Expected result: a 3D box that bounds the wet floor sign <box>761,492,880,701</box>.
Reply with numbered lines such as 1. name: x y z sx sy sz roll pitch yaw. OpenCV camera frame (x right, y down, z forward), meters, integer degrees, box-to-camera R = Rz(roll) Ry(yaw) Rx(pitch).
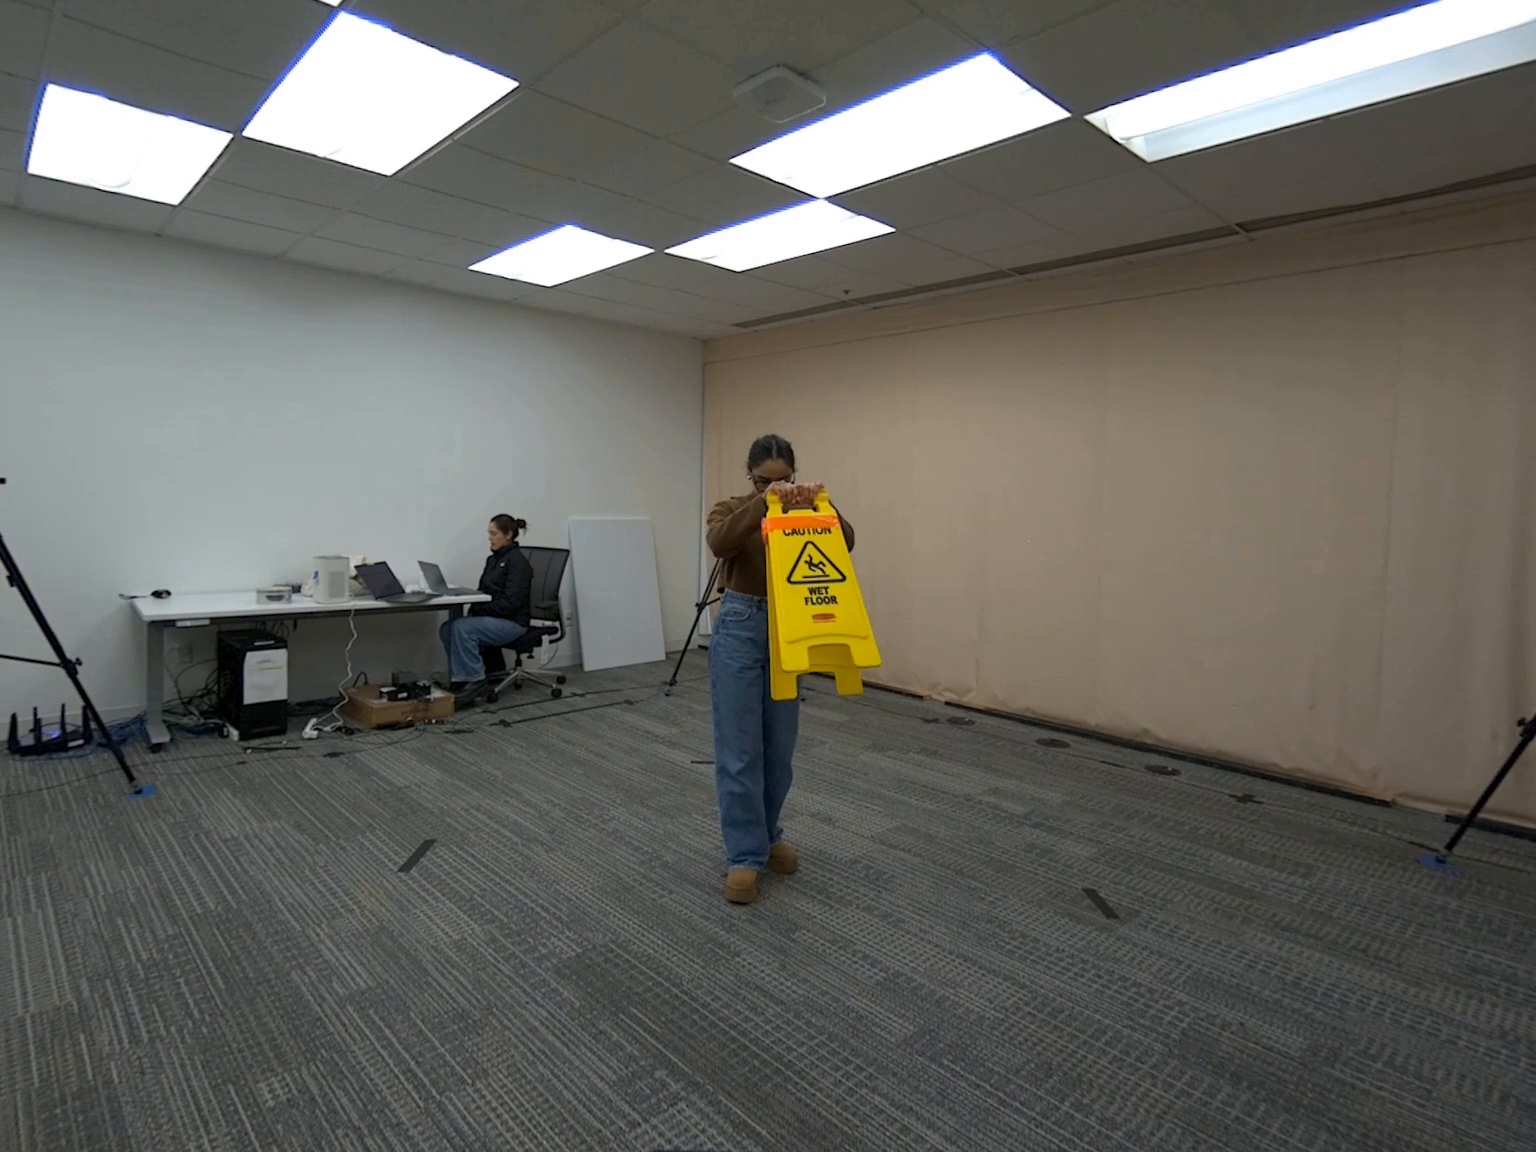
1. wet floor sign: 0.105 0.018 2.570 0.281 0.658 0.286 -1 -25 -6
